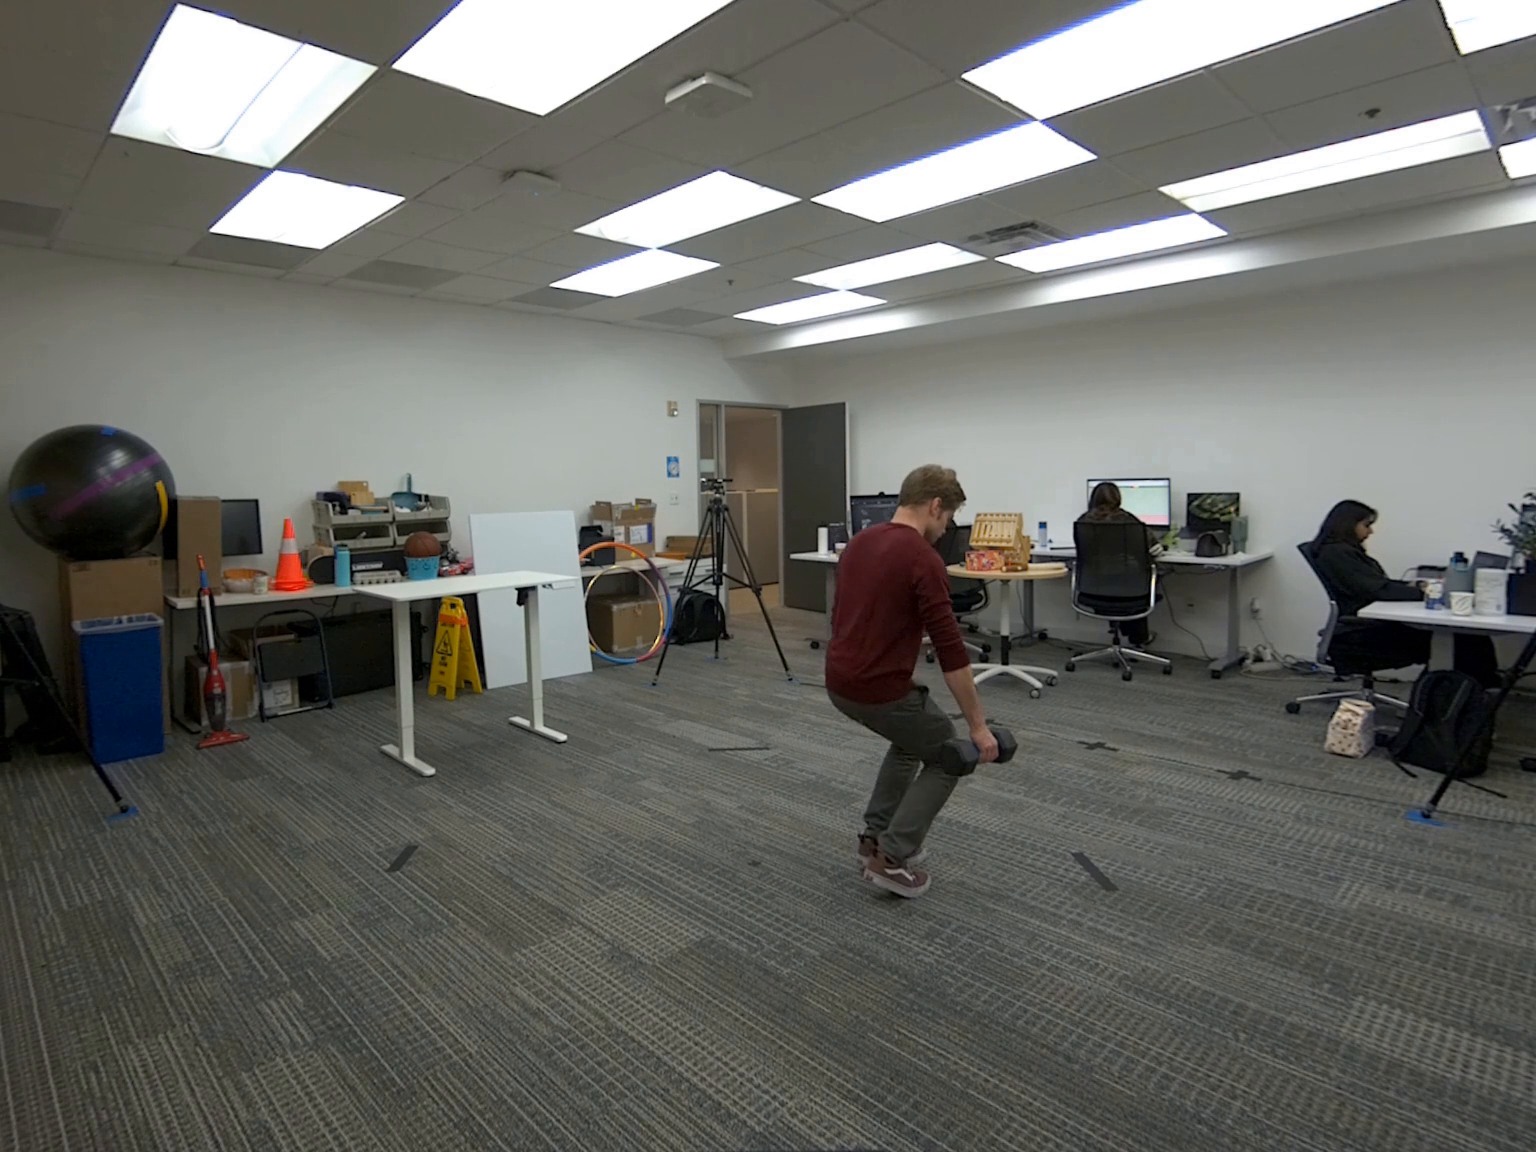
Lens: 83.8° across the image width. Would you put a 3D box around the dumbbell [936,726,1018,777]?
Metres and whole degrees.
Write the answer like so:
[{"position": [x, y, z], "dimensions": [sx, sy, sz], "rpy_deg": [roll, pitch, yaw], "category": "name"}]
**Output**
[{"position": [0.696, 0.580, 2.811], "dimensions": [0.286, 0.126, 0.108], "rpy_deg": [-4, -30, -38], "category": "dumbbell"}]
